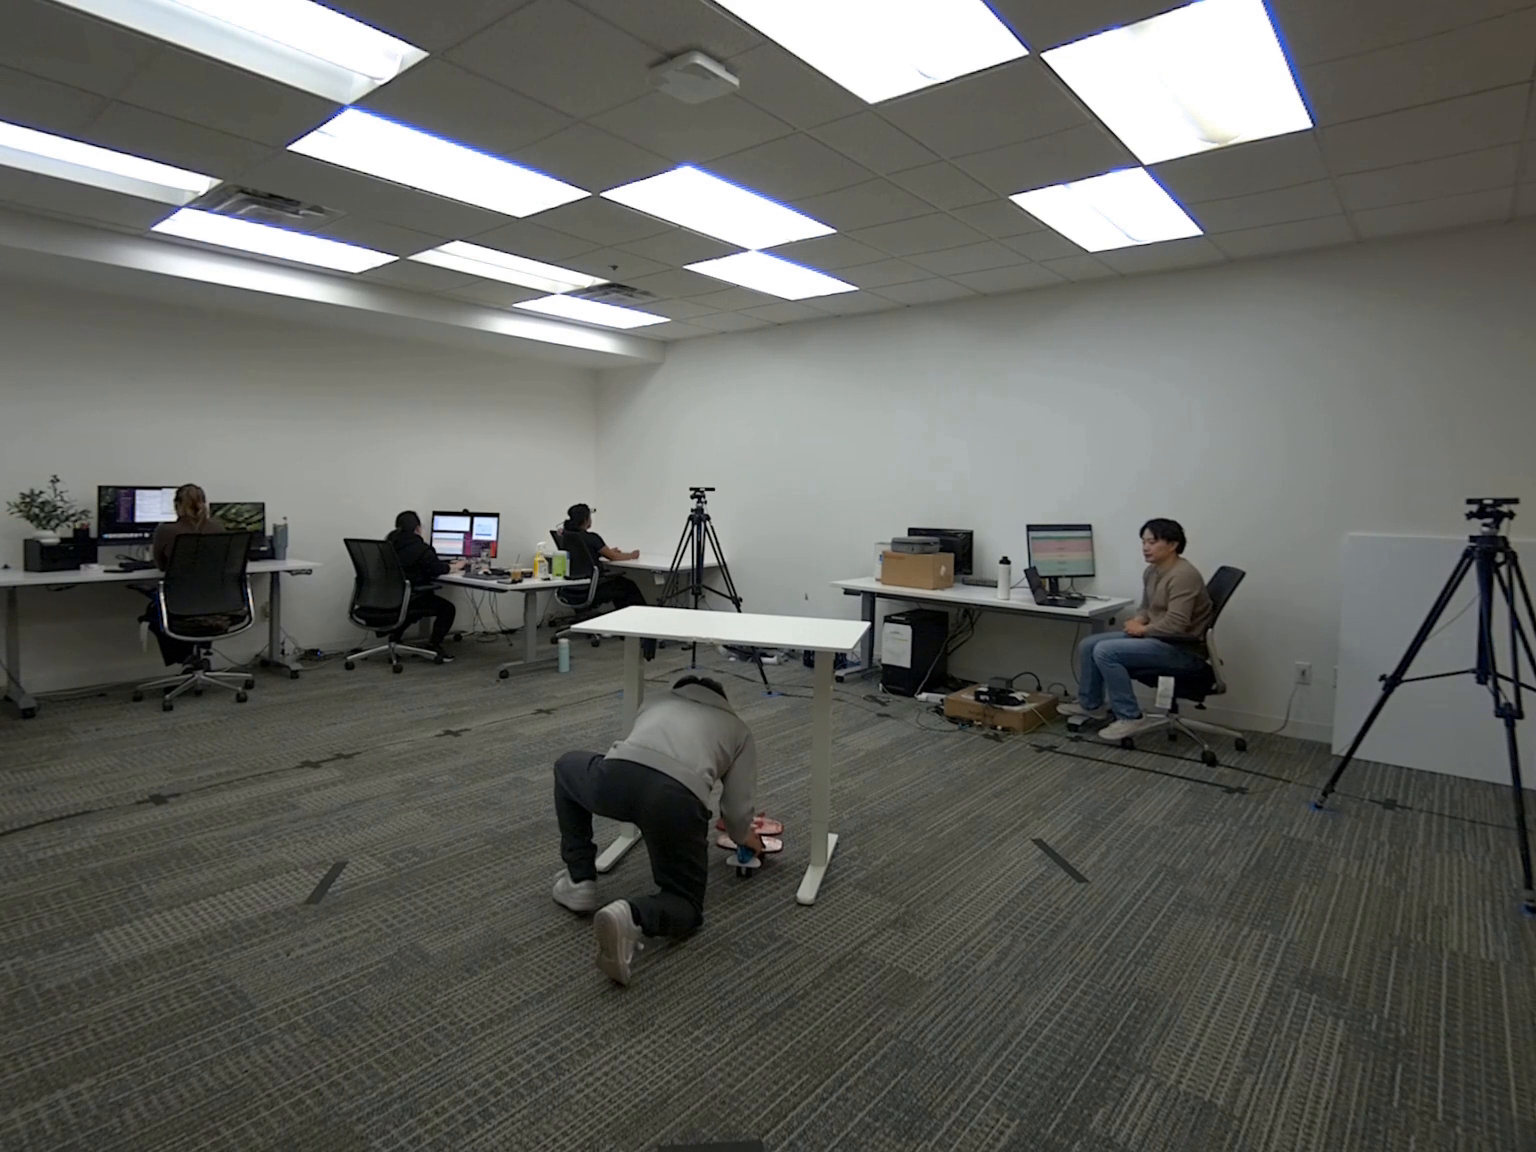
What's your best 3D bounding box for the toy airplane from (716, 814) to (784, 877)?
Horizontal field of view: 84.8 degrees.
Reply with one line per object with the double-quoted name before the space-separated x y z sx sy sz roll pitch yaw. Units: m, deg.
"toy airplane" -0.059 0.997 3.142 0.246 0.156 0.265 -1 3 -19
